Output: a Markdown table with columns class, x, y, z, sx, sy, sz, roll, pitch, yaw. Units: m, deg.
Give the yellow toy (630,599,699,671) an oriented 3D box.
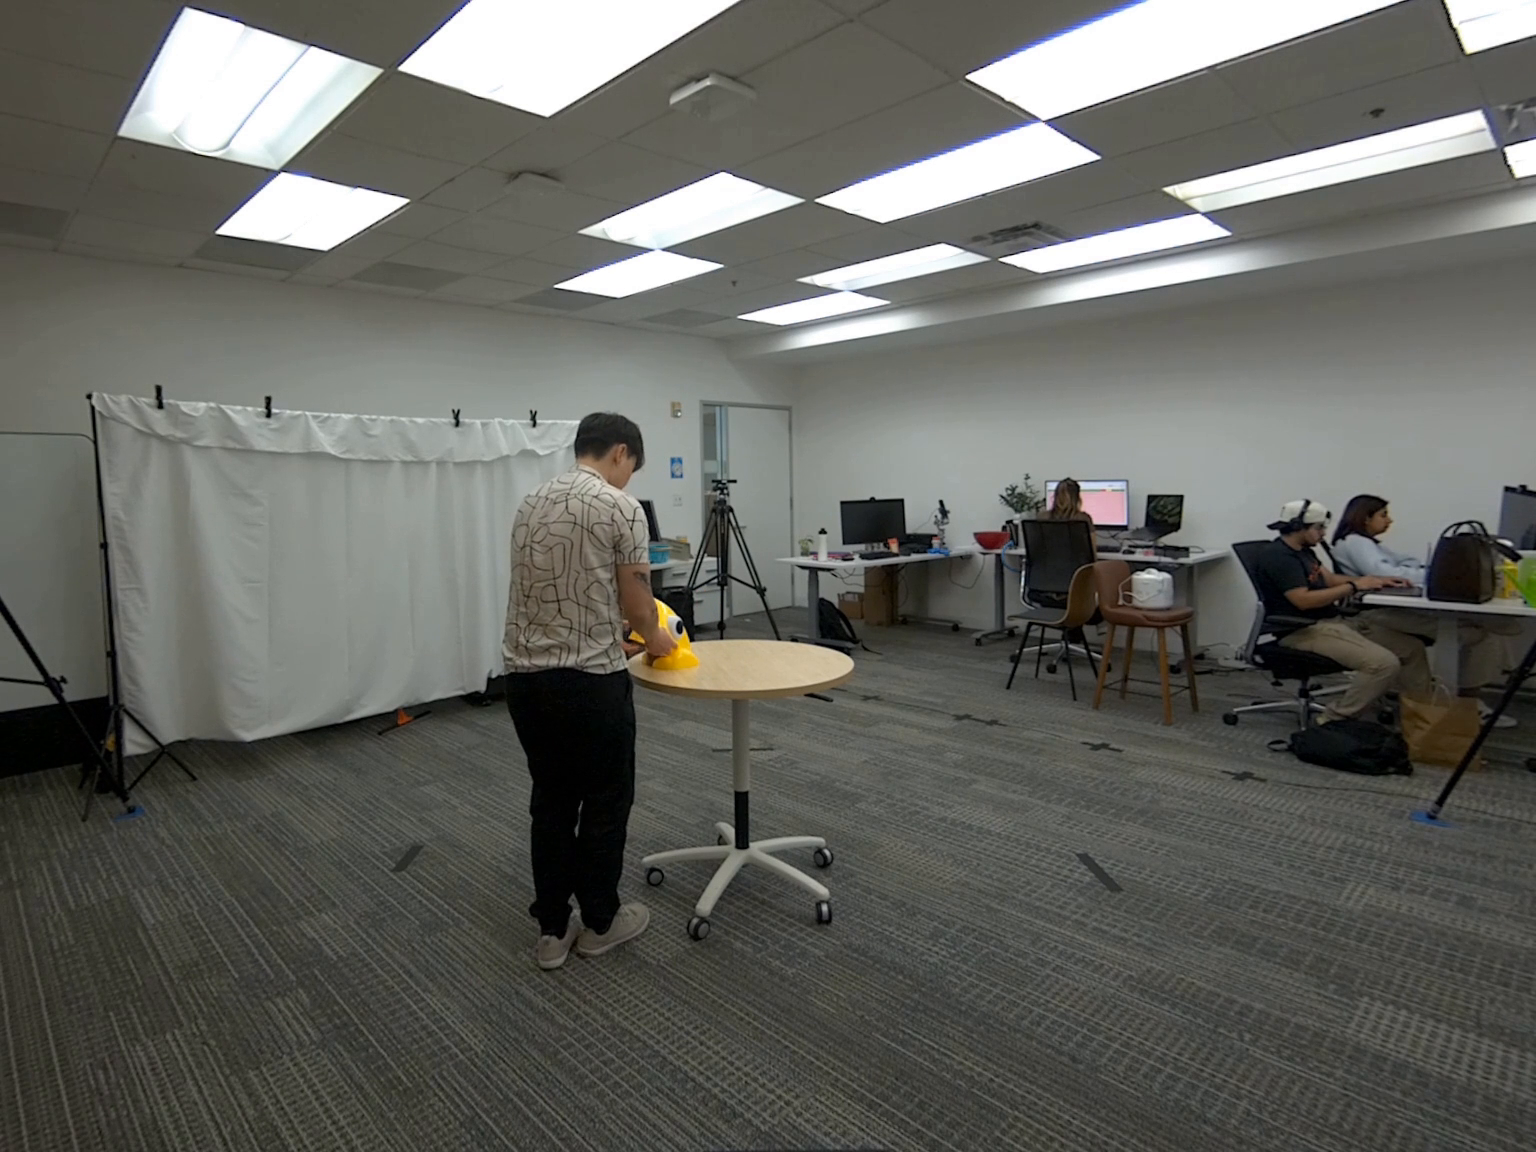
| class | x | y | z | sx | sy | sz | roll | pitch | yaw |
| --- | --- | --- | --- | --- | --- | --- | --- | --- | --- |
| yellow toy | -0.338 | 0.181 | 2.875 | 0.188 | 0.230 | 0.210 | -3 | 4 | -33 |
